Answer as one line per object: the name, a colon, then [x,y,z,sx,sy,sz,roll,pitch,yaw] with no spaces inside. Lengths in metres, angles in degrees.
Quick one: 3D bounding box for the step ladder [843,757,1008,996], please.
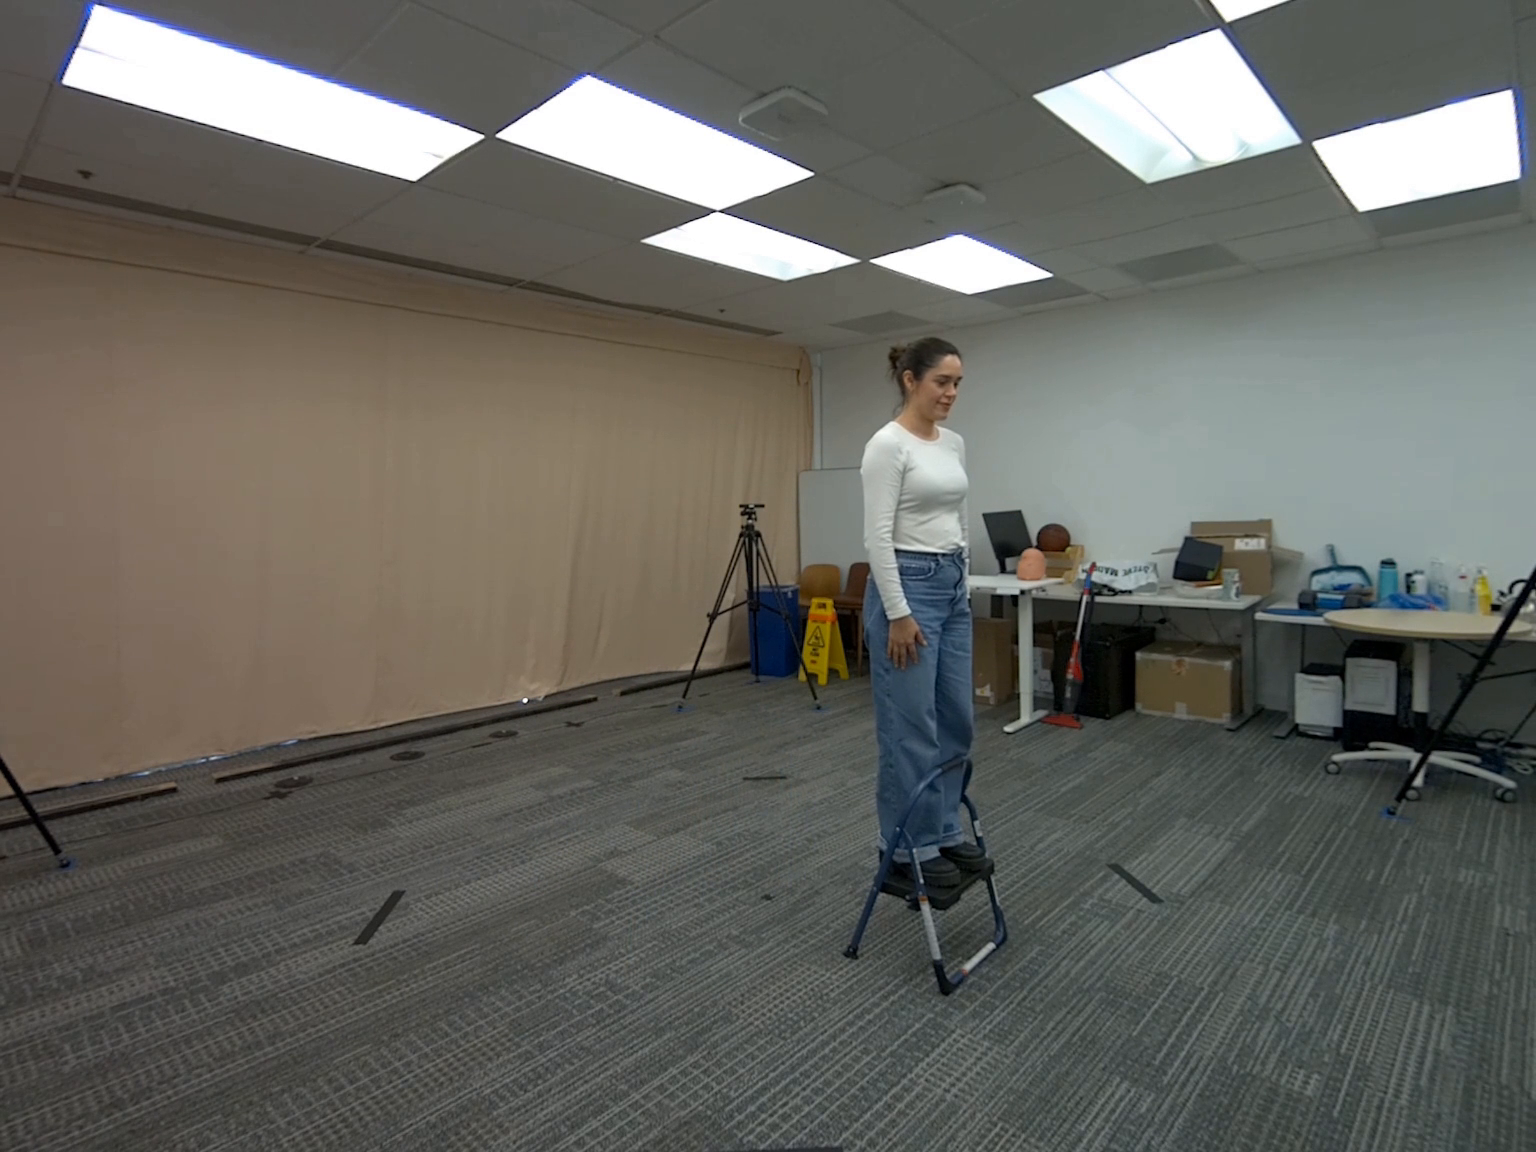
step ladder: [0.499,0.861,2.612,0.361,0.604,0.418,3,6,40]
